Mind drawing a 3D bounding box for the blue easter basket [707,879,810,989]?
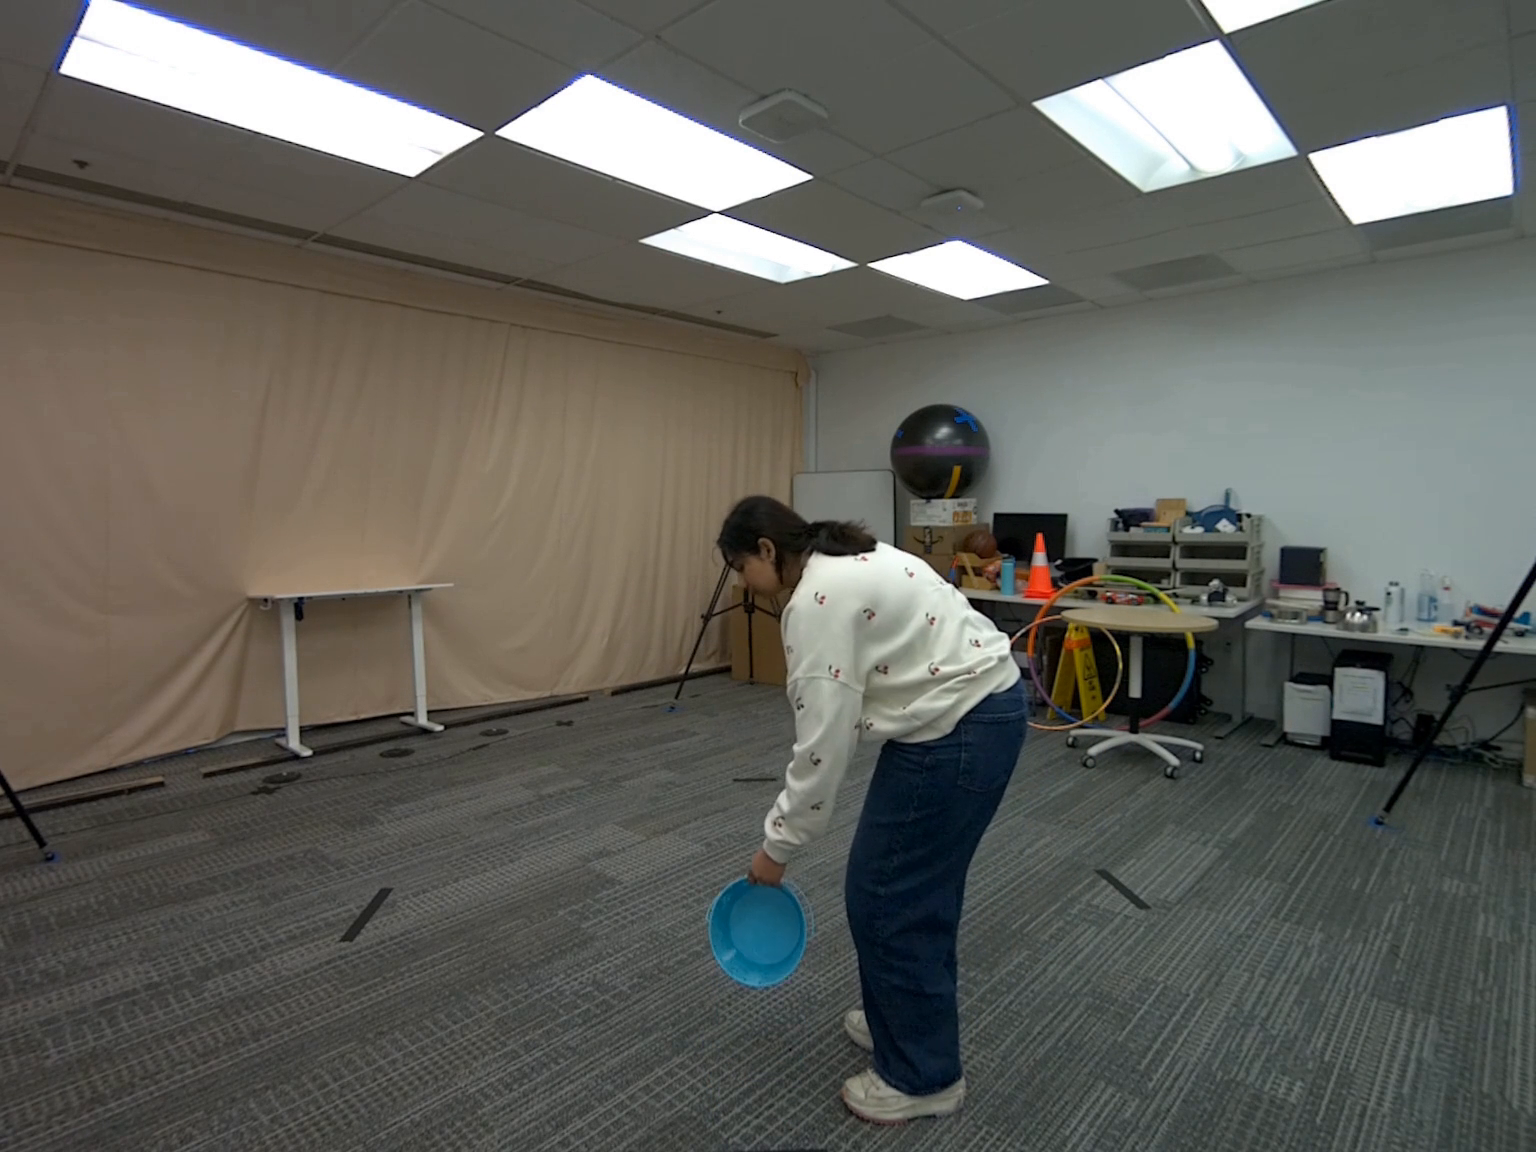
[{"bbox_3d":[-0.011,0.850,1.997,0.246,0.246,0.152,0,-18,10],"label":"blue easter basket"}]
